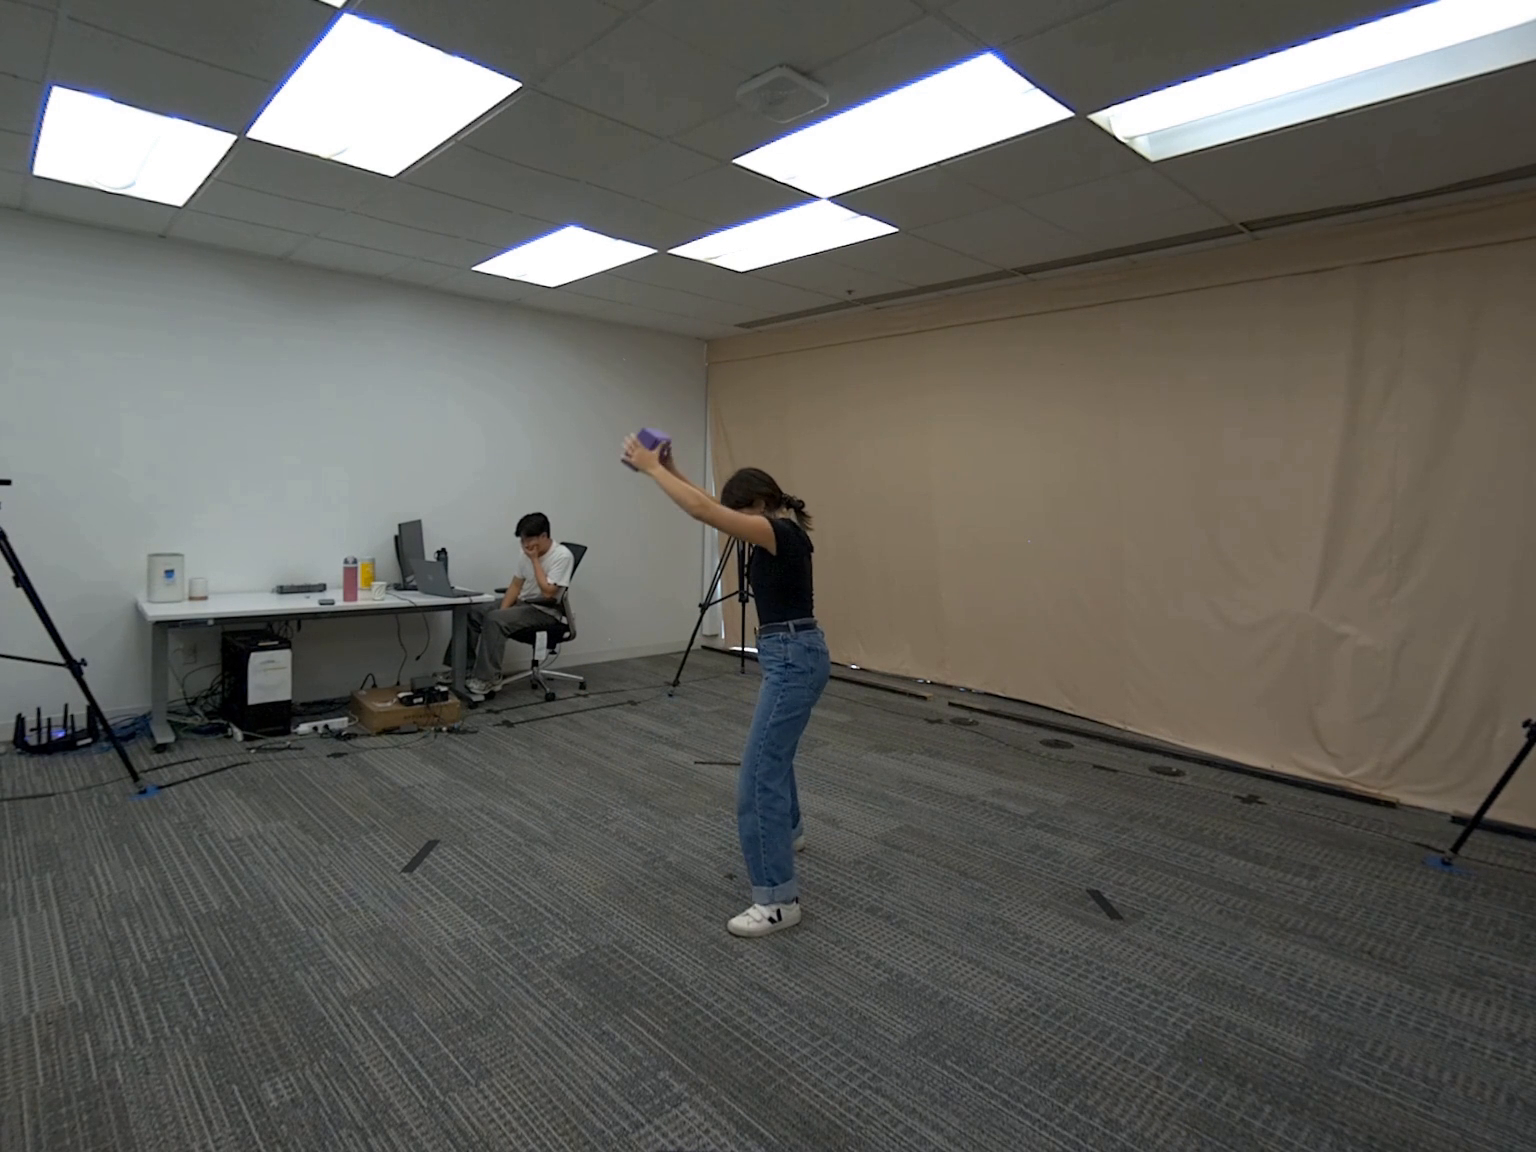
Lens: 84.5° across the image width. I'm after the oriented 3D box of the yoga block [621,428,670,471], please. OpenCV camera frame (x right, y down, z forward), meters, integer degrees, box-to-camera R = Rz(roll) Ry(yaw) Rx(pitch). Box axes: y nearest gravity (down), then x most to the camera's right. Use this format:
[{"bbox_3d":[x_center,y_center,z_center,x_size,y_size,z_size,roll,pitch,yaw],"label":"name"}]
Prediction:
[{"bbox_3d":[-0.434,-0.464,3.062,0.077,0.148,0.228,28,9,4],"label":"yoga block"}]
